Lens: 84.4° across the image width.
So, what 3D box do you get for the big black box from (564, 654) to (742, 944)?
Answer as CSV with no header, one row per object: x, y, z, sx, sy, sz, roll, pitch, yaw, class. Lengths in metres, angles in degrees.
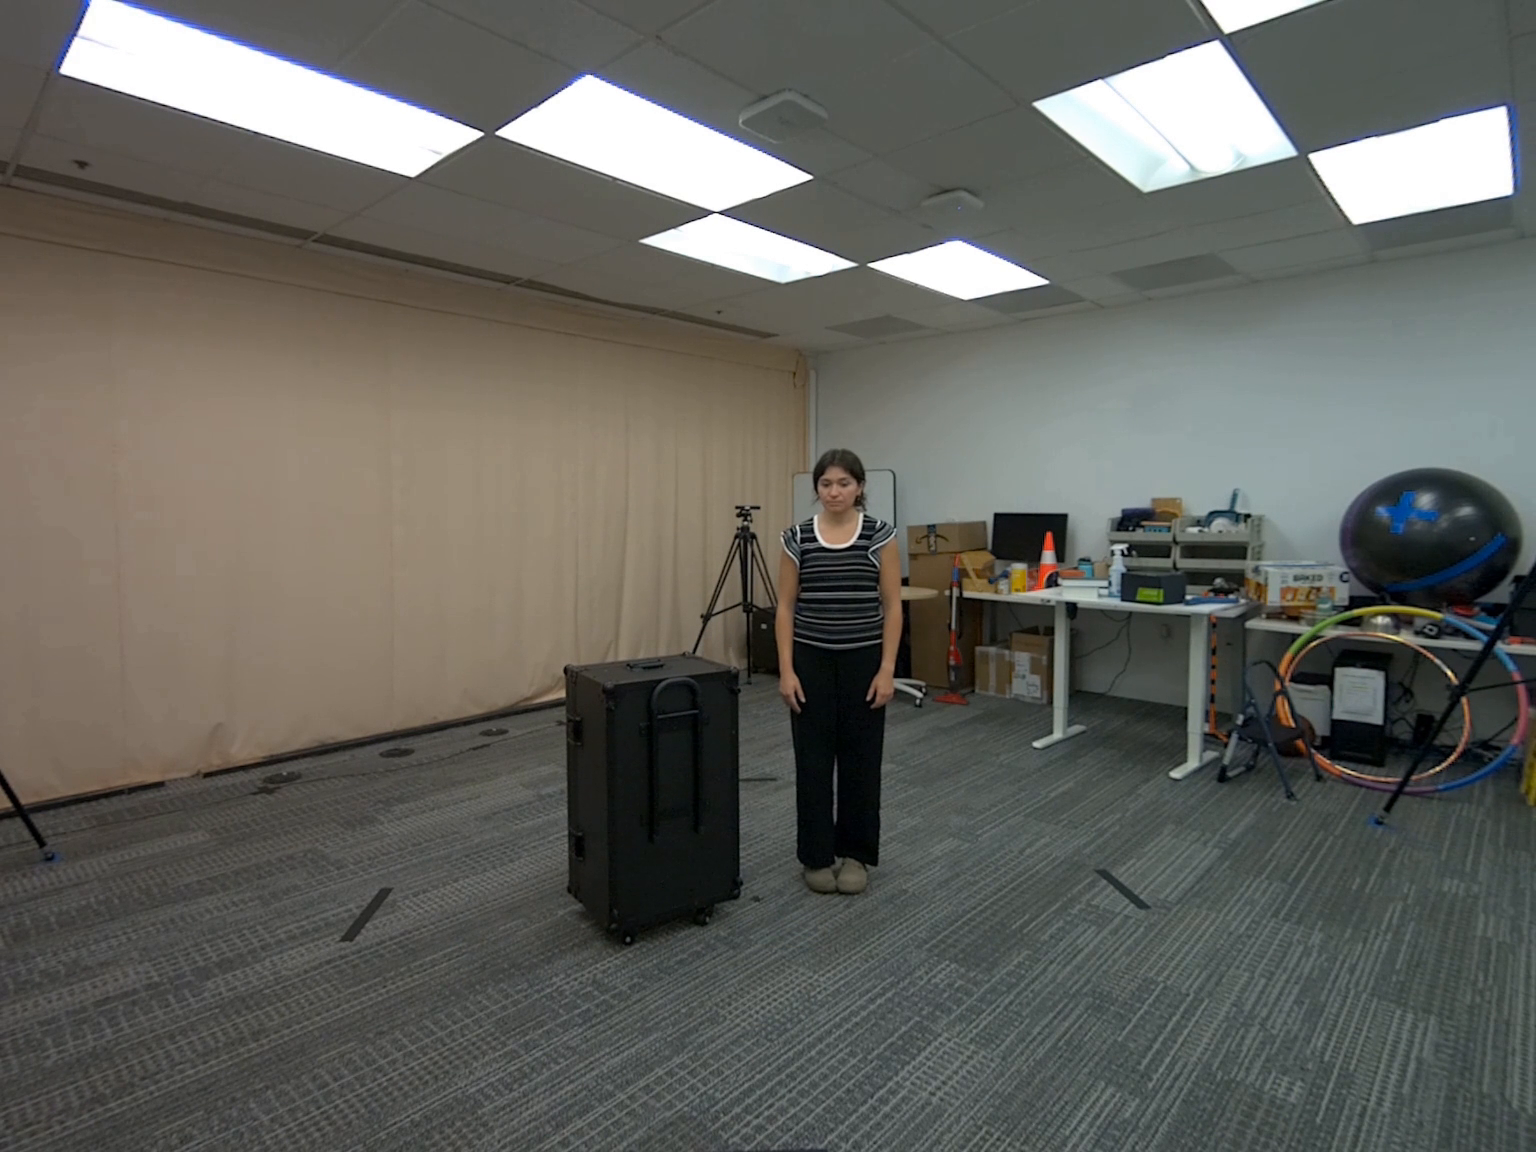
-0.378,0.734,2.844,0.507,0.859,0.408,-2,4,-31,big black box
